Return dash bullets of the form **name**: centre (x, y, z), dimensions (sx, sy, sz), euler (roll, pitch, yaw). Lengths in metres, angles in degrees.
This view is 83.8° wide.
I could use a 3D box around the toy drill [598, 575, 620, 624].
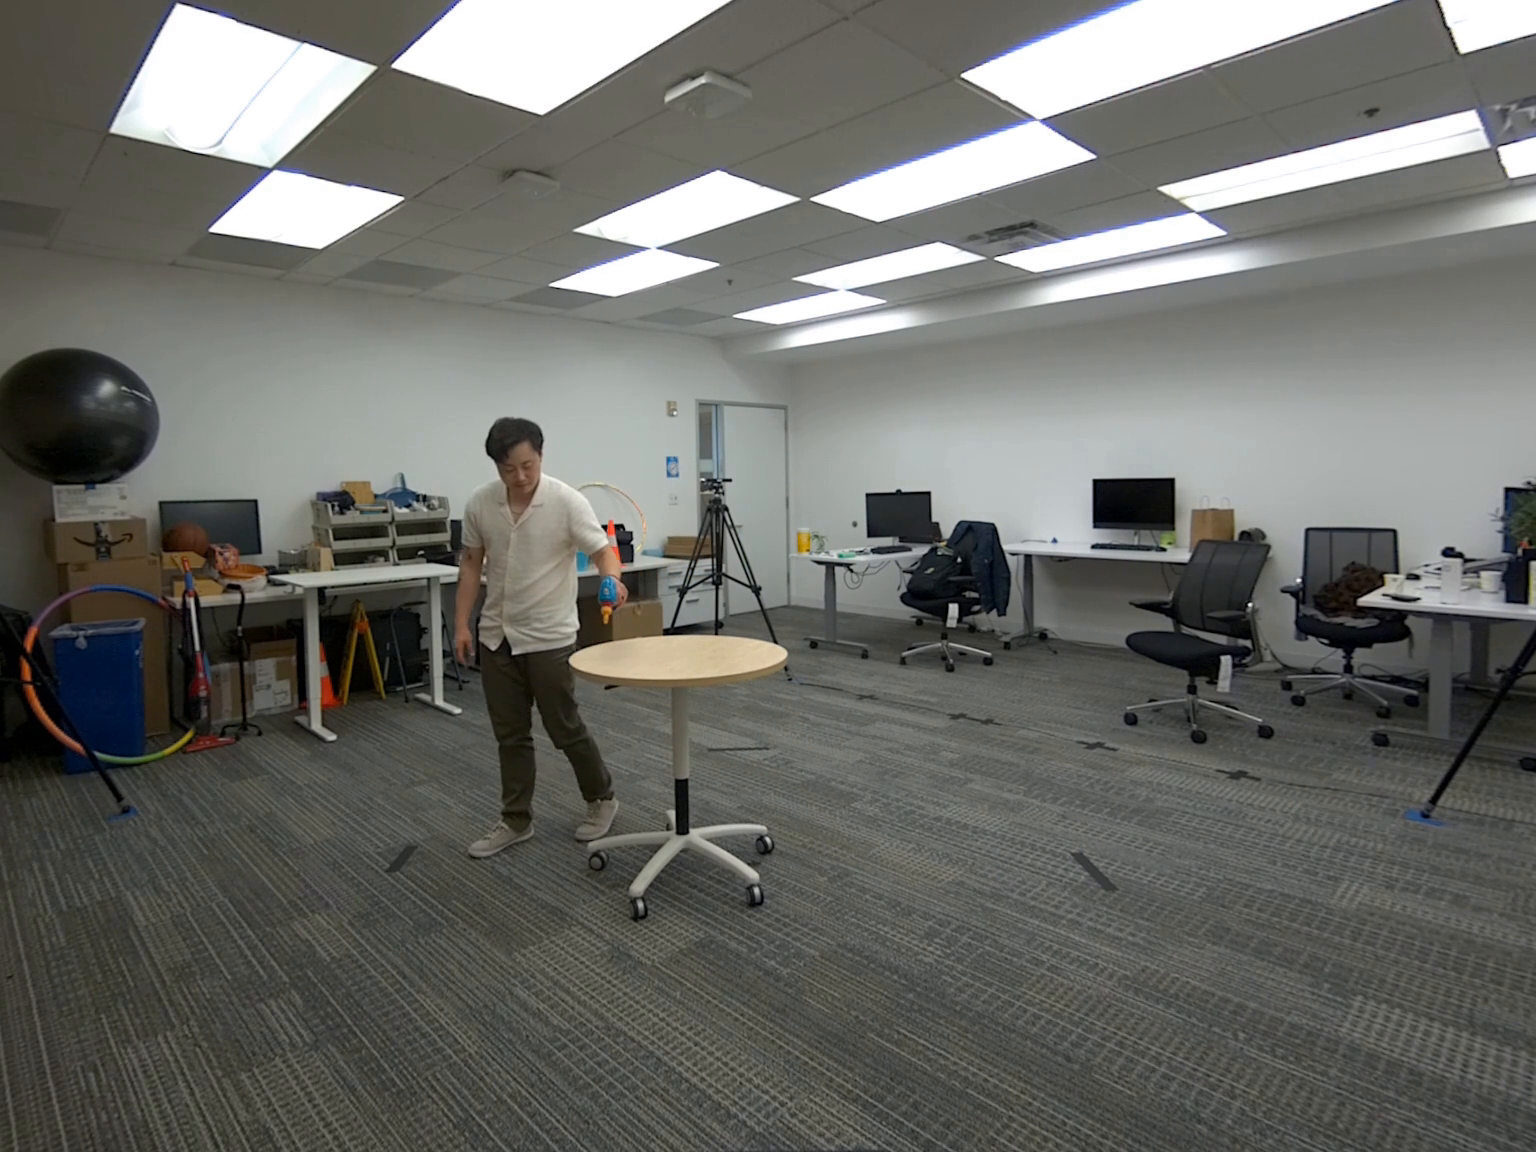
- **toy drill**: centre (-0.534, 0.101, 2.894), dimensions (0.061, 0.173, 0.143), euler (-2, -24, 1)
